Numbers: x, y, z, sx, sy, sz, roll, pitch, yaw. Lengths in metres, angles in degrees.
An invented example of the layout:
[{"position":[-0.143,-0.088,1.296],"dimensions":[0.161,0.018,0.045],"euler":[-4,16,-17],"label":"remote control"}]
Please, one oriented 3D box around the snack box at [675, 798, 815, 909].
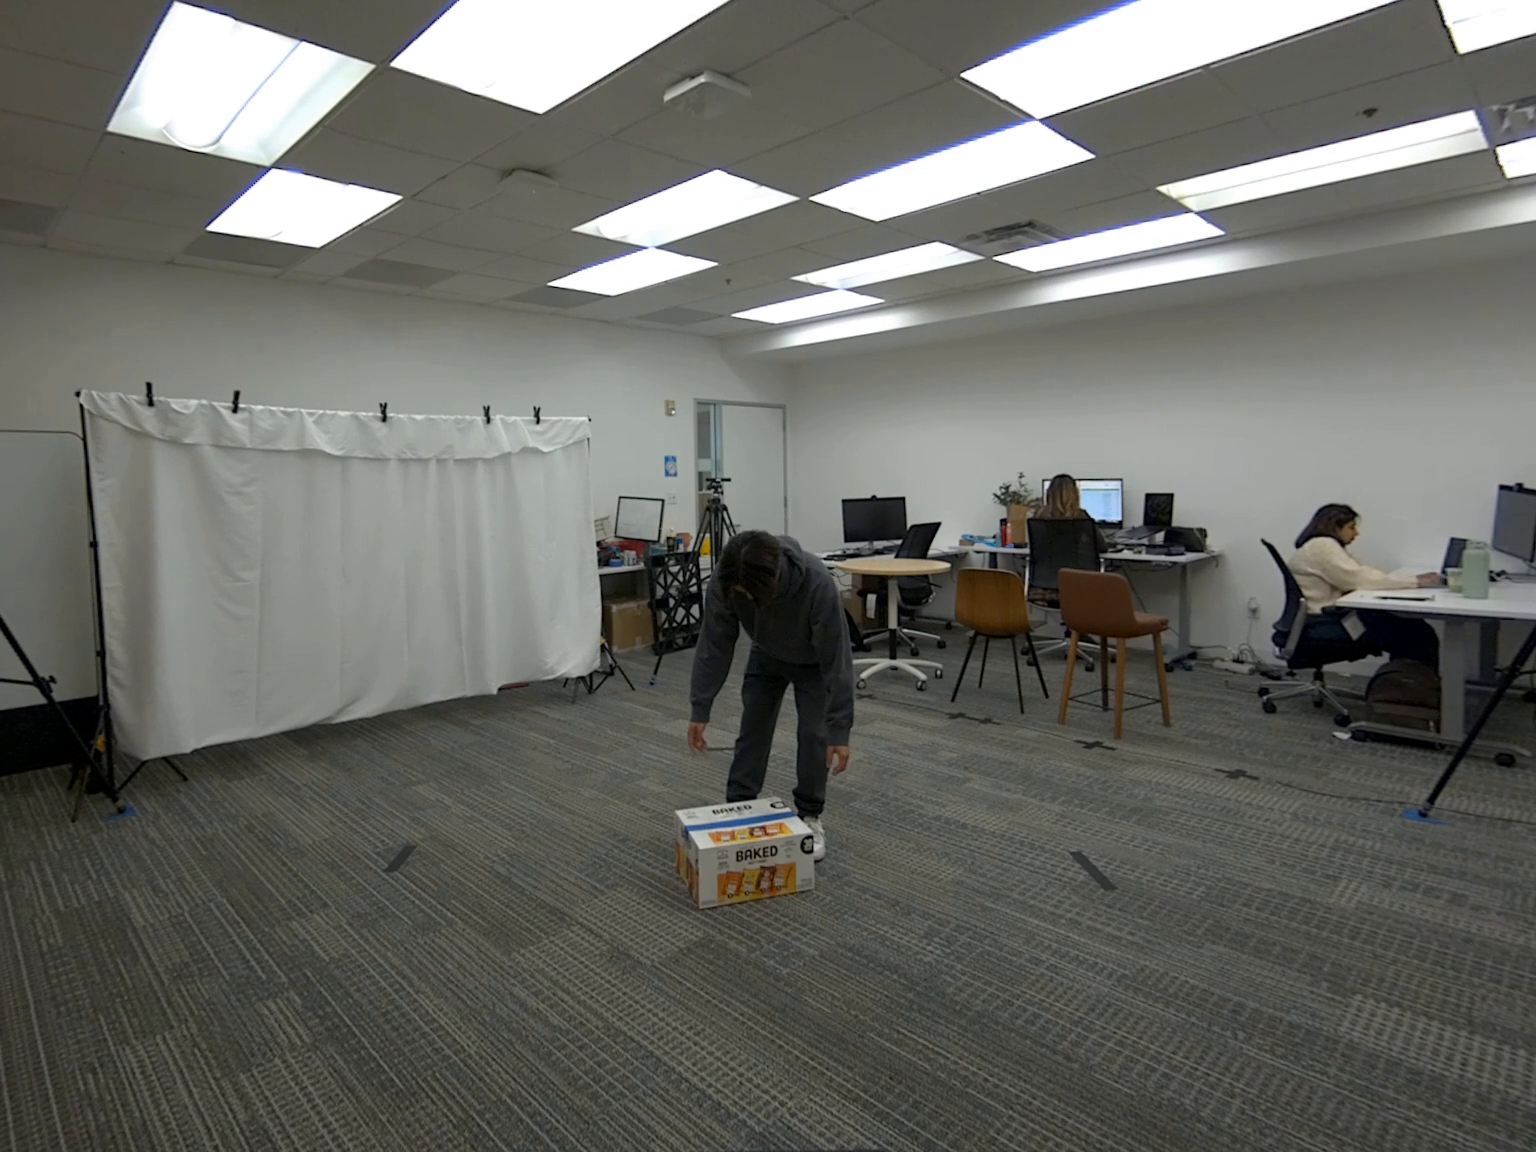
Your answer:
[{"position":[-0.087,0.954,2.984],"dimensions":[0.398,0.205,0.347],"euler":[-3,6,-19],"label":"snack box"}]
